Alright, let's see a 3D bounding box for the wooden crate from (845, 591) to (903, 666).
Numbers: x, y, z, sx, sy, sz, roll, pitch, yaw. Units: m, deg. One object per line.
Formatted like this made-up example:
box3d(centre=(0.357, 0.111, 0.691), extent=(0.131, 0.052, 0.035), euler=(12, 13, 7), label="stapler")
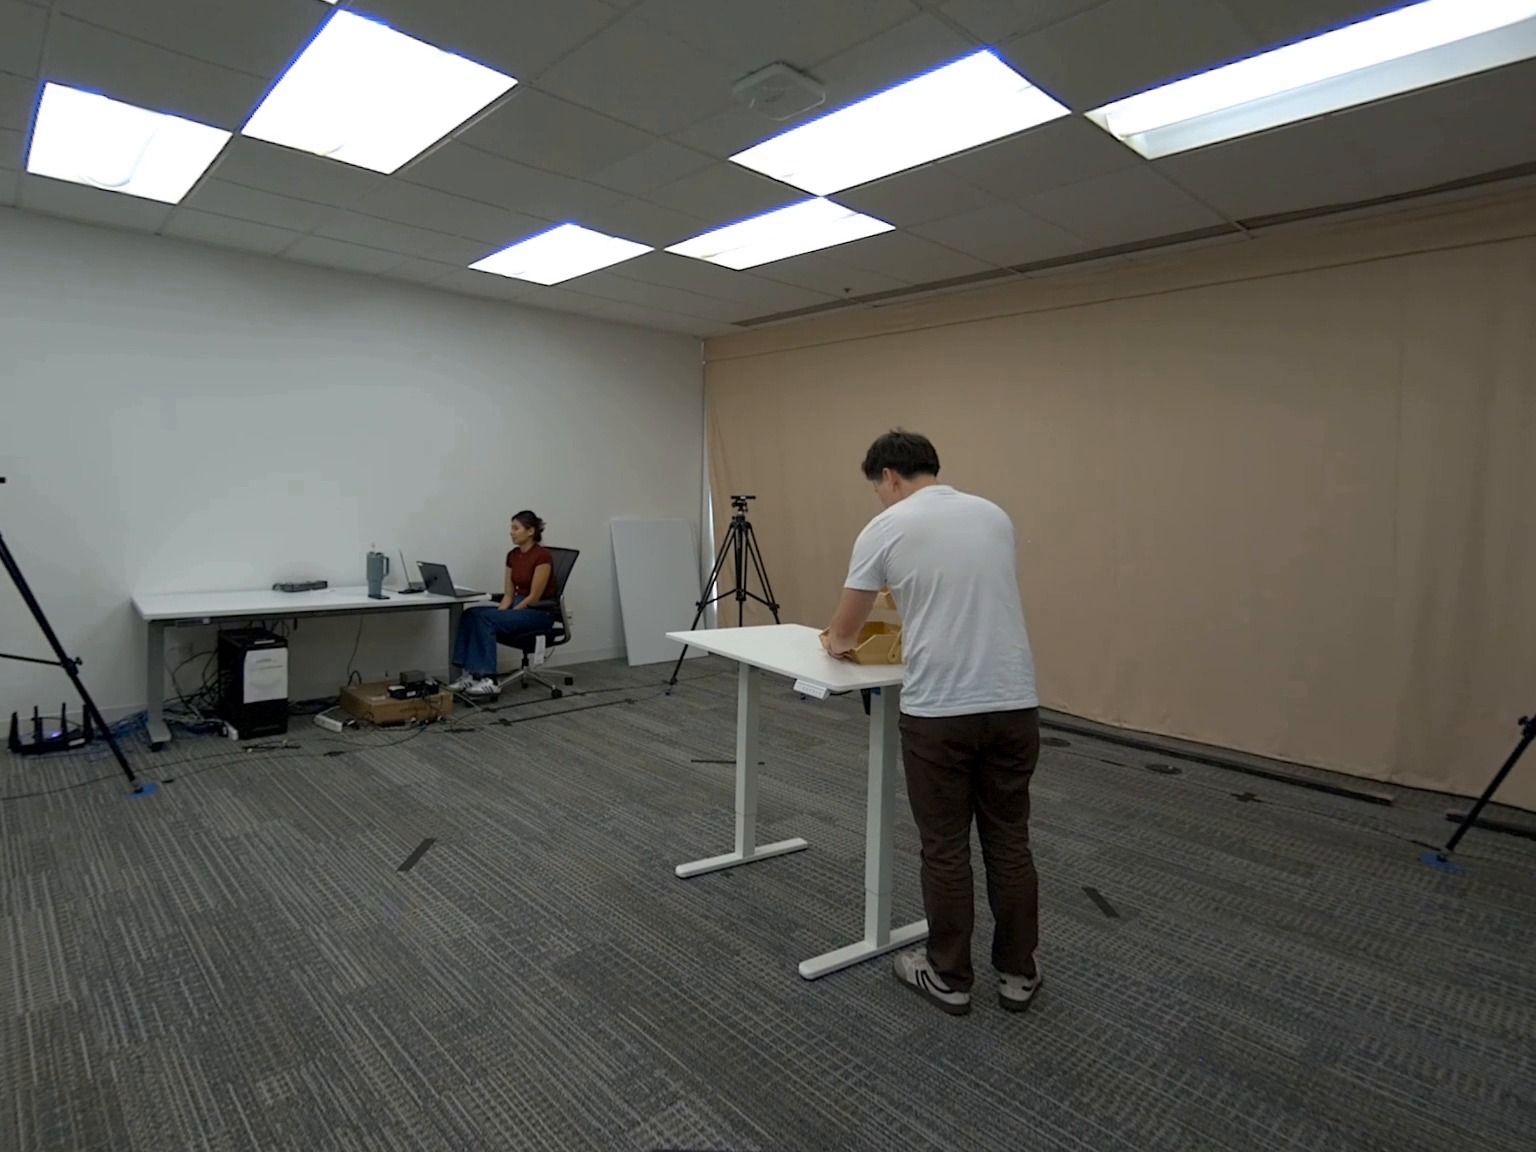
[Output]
box3d(centre=(0.354, 0.131, 2.768), extent=(0.298, 0.272, 0.330), euler=(0, 5, -19), label="wooden crate")
